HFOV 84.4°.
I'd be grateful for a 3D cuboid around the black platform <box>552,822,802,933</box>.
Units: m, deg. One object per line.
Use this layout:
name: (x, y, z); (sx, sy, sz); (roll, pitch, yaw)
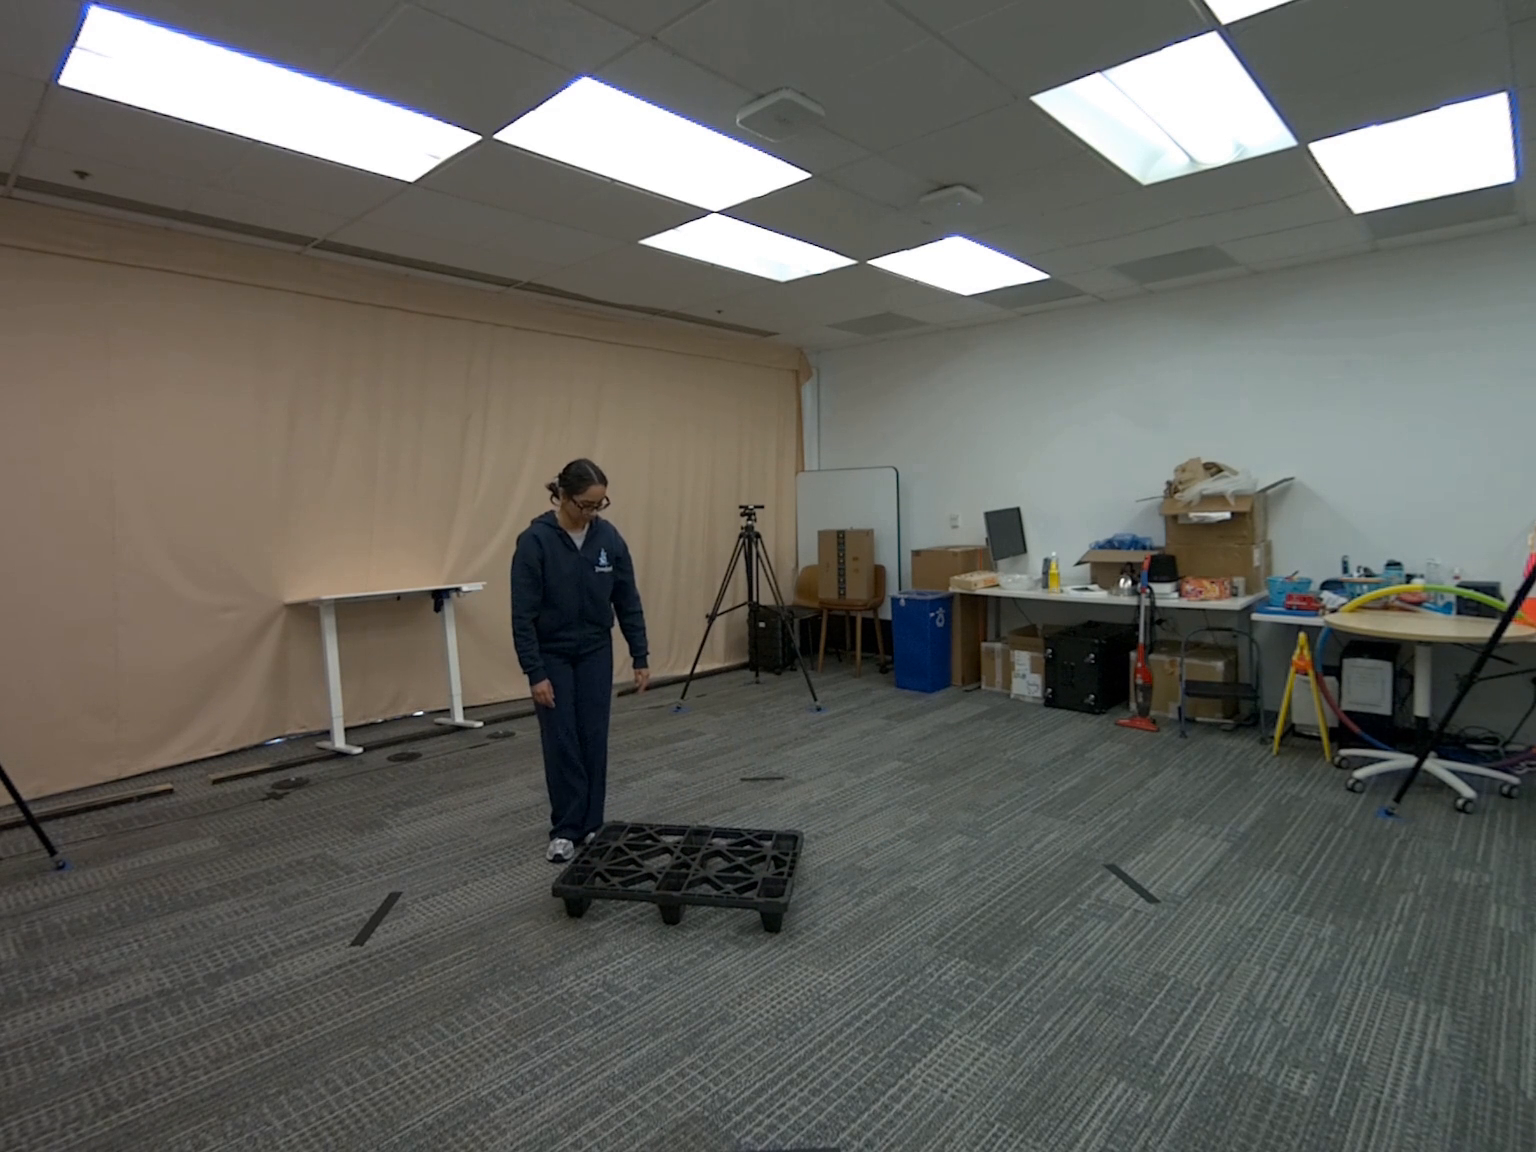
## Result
black platform: (-0.294, 1.075, 3.033); (0.815, 0.143, 0.600); (0, 4, 10)
